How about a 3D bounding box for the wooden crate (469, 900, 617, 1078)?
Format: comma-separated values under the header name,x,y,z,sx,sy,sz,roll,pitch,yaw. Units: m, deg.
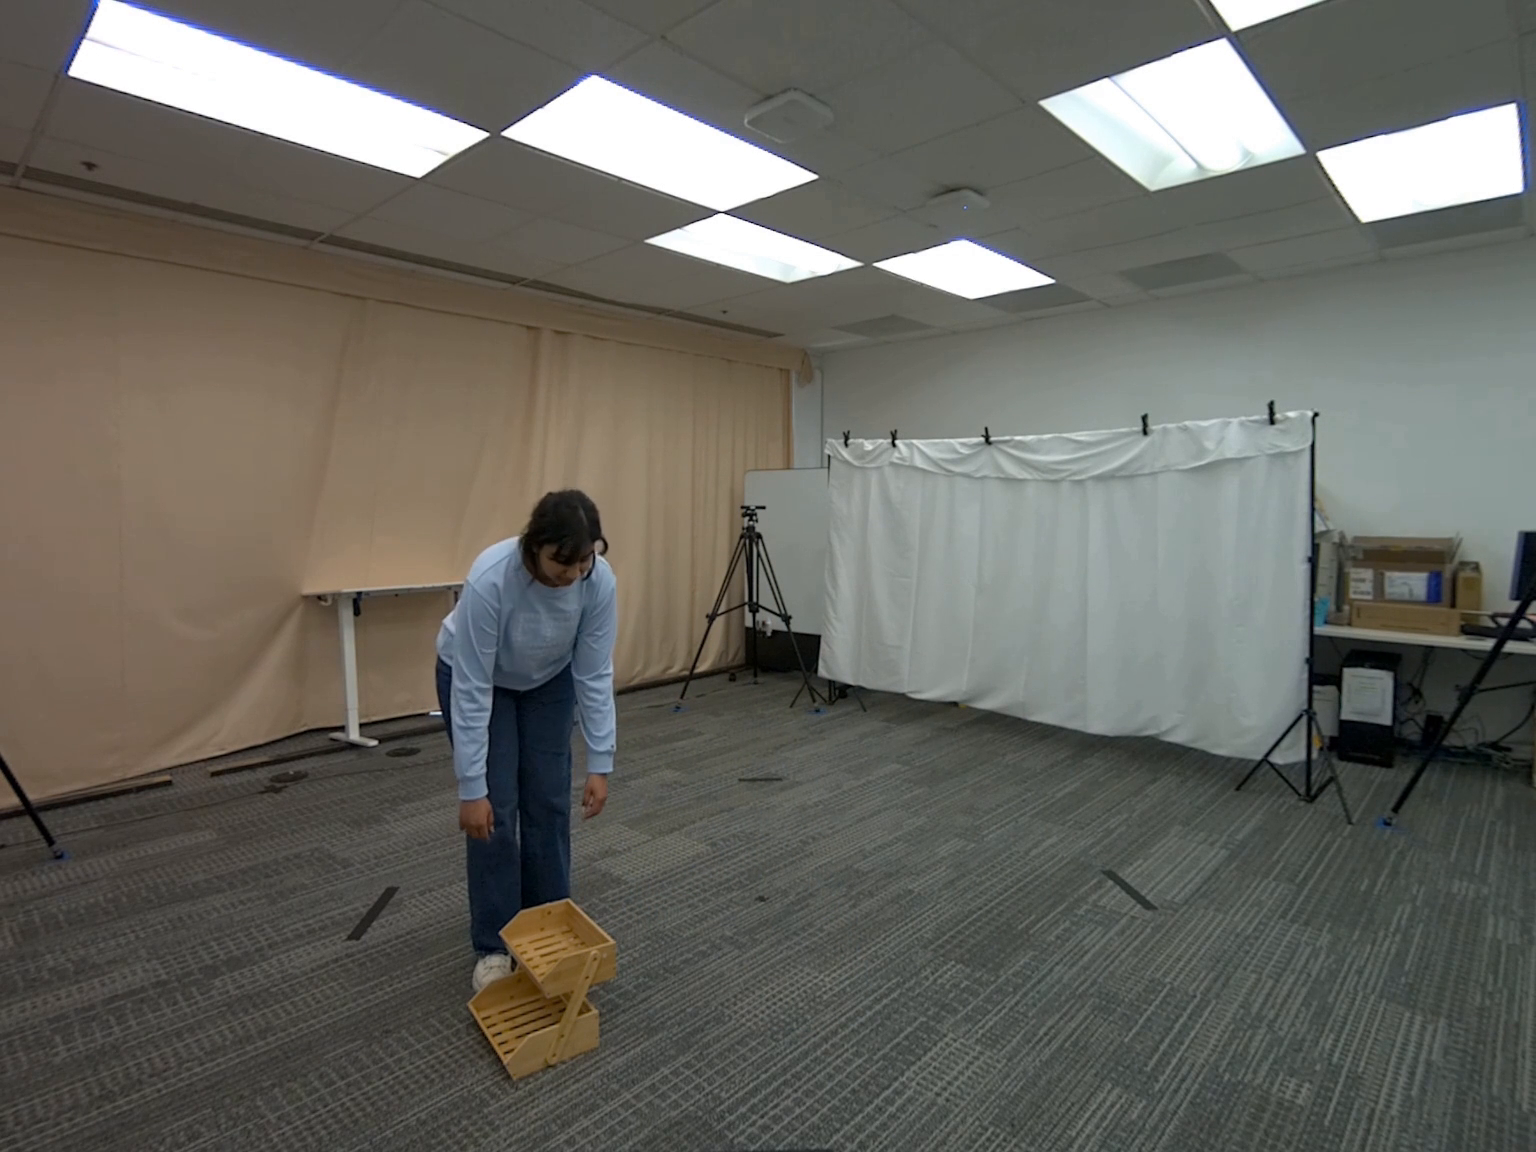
name,x,y,z,sx,sy,sz,roll,pitch,yaw
wooden crate,-0.608,1.081,2.225,0.293,0.273,0.334,-2,4,-35
